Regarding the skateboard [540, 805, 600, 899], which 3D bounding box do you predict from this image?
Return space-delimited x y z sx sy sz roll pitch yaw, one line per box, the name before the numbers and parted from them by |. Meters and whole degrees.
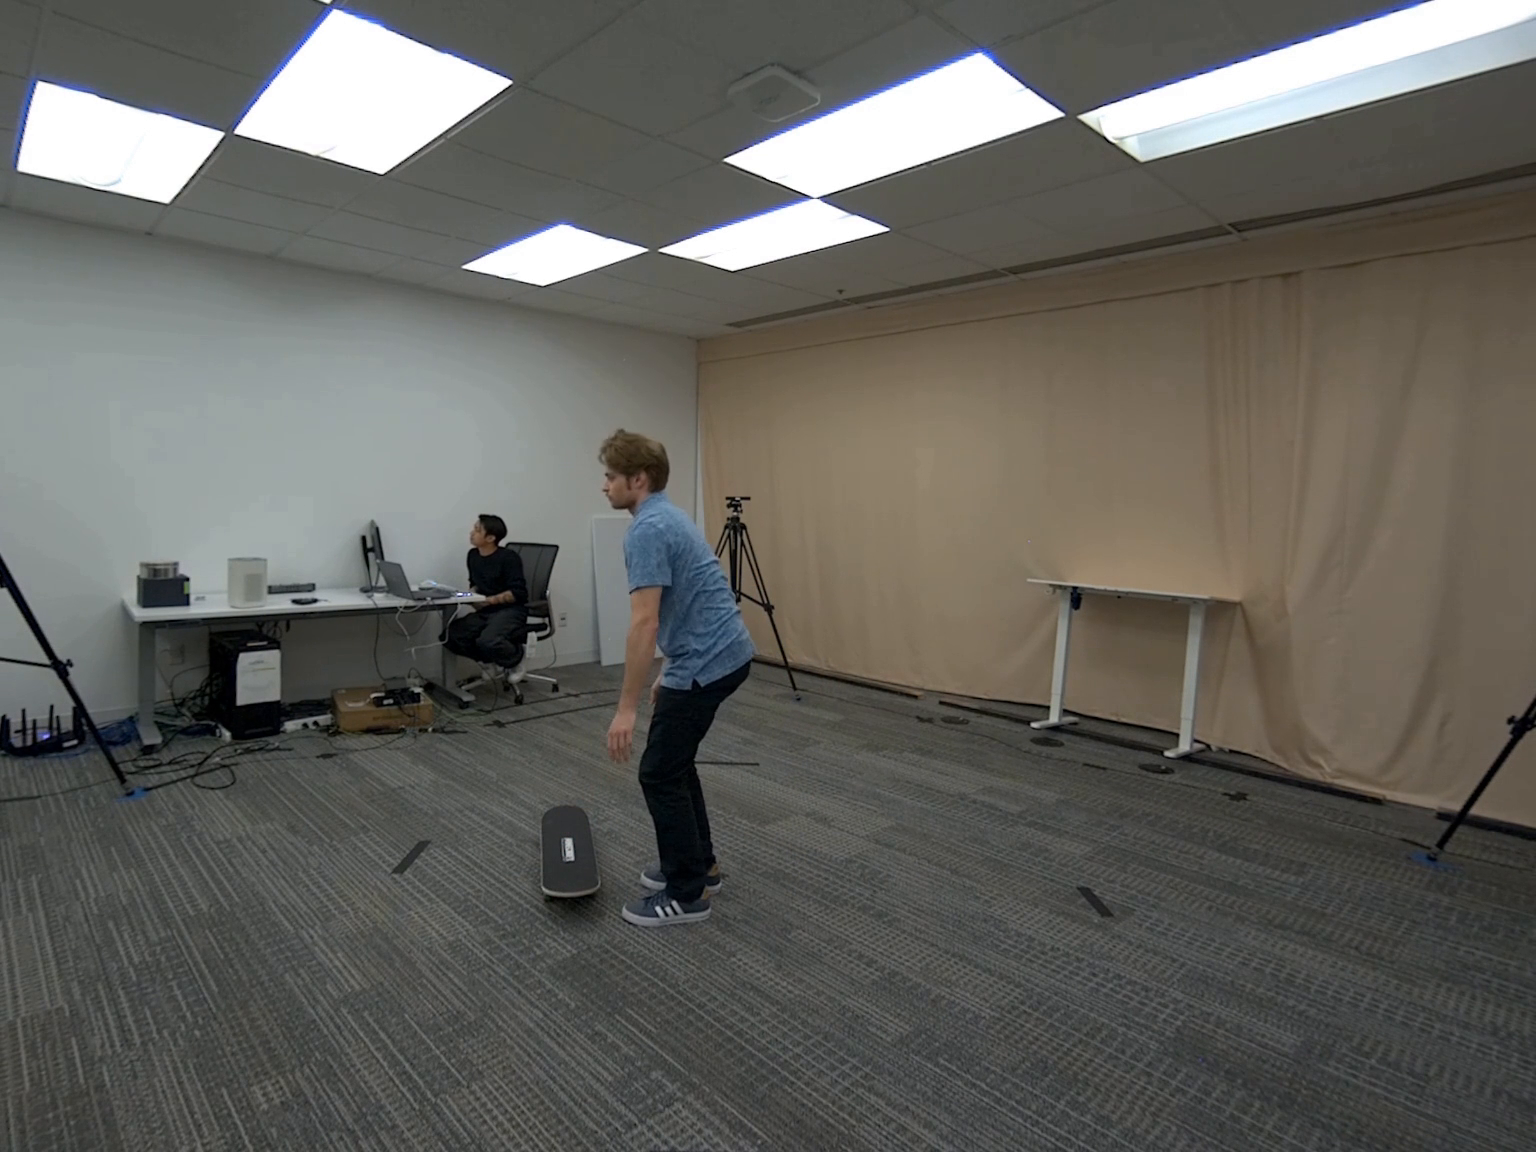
skateboard | -0.750 1.045 3.099 0.191 0.110 0.796 0 6 -14
